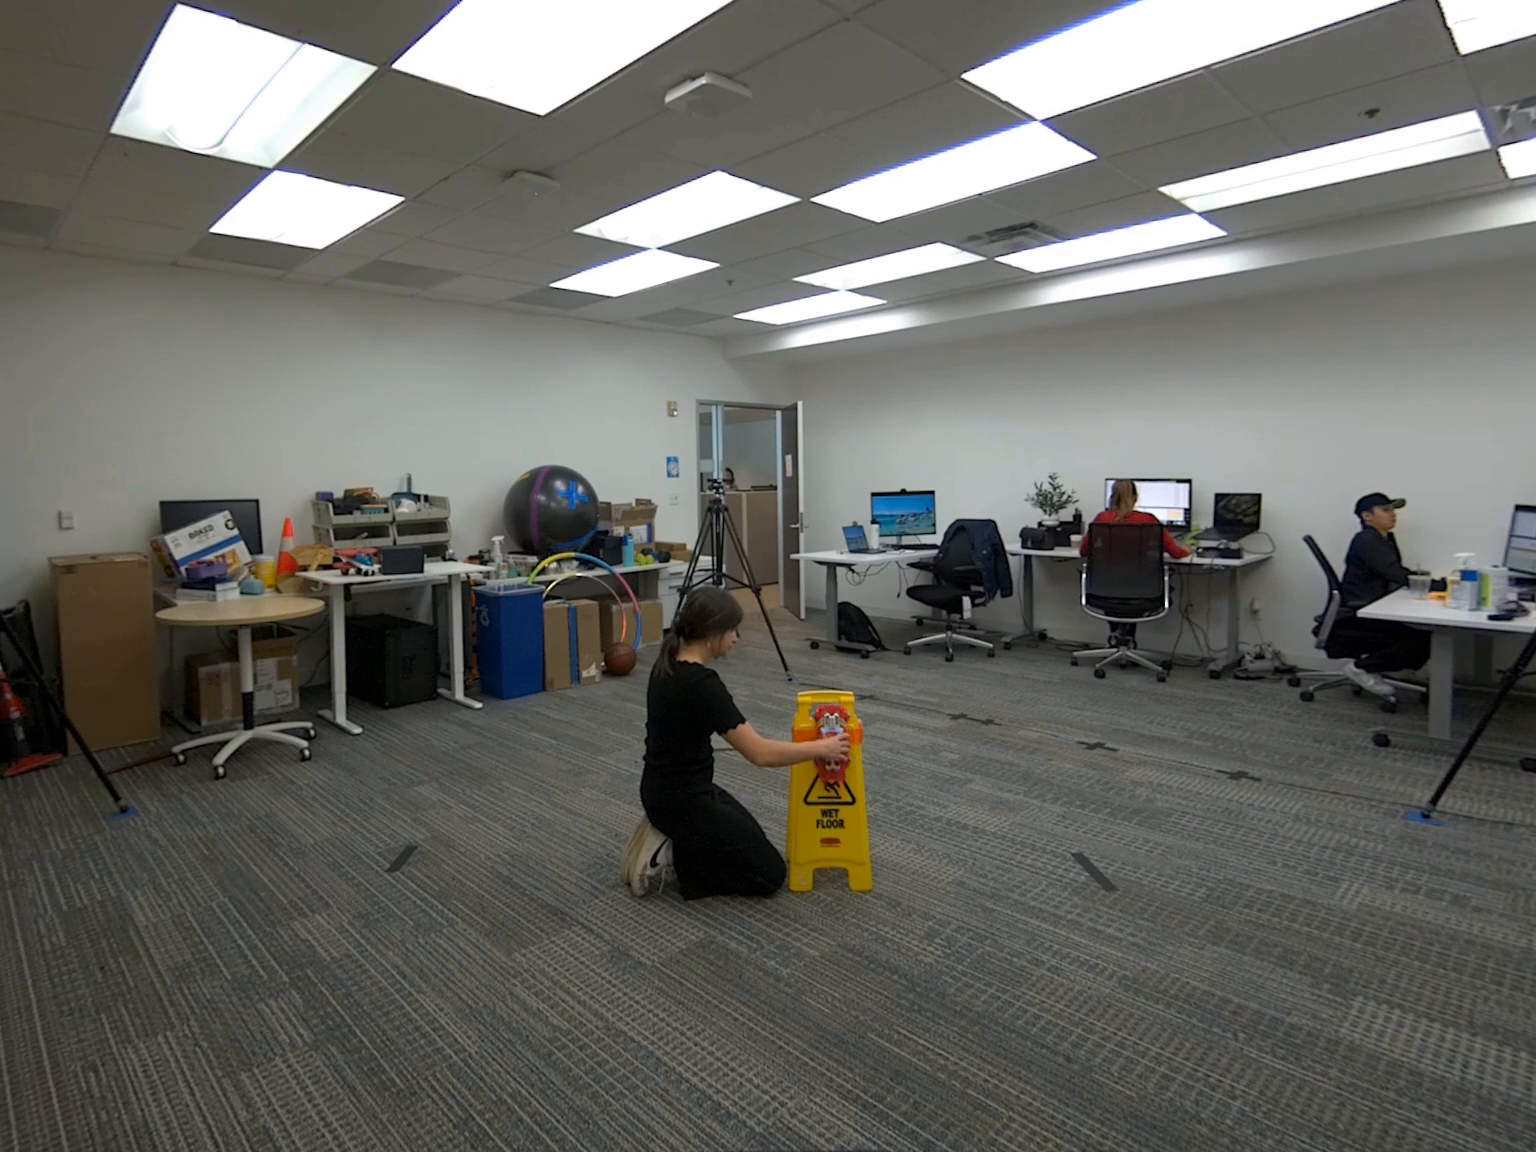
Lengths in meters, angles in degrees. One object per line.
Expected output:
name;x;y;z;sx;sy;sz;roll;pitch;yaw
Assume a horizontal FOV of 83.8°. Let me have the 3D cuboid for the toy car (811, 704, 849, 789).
toy car;0.200;0.579;2.909;0.130;0.259;0.082;-1;-20;-3
